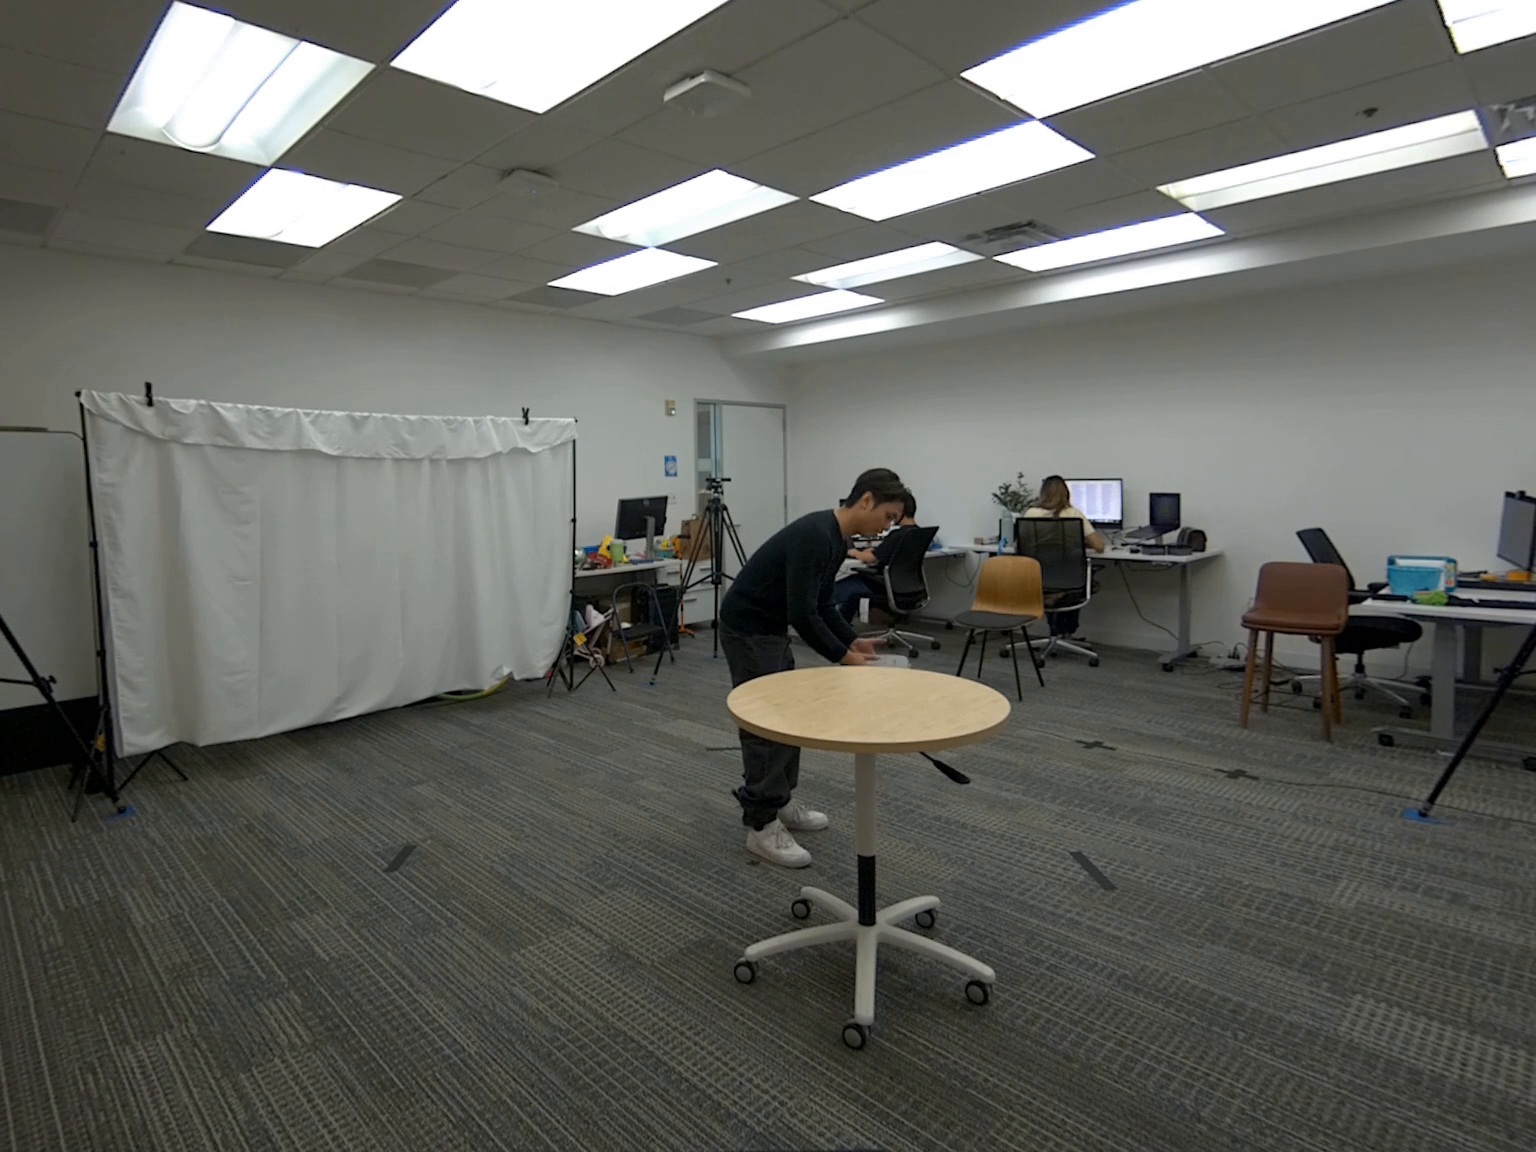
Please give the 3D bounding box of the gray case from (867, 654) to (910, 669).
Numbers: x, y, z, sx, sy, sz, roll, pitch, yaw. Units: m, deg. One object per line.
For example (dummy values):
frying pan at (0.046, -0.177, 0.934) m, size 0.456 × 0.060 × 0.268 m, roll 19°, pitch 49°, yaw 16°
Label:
gray case at (0.398, 0.363, 3.223) m, size 0.264 × 0.104 × 0.255 m, roll 0°, pitch 6°, yaw 11°
